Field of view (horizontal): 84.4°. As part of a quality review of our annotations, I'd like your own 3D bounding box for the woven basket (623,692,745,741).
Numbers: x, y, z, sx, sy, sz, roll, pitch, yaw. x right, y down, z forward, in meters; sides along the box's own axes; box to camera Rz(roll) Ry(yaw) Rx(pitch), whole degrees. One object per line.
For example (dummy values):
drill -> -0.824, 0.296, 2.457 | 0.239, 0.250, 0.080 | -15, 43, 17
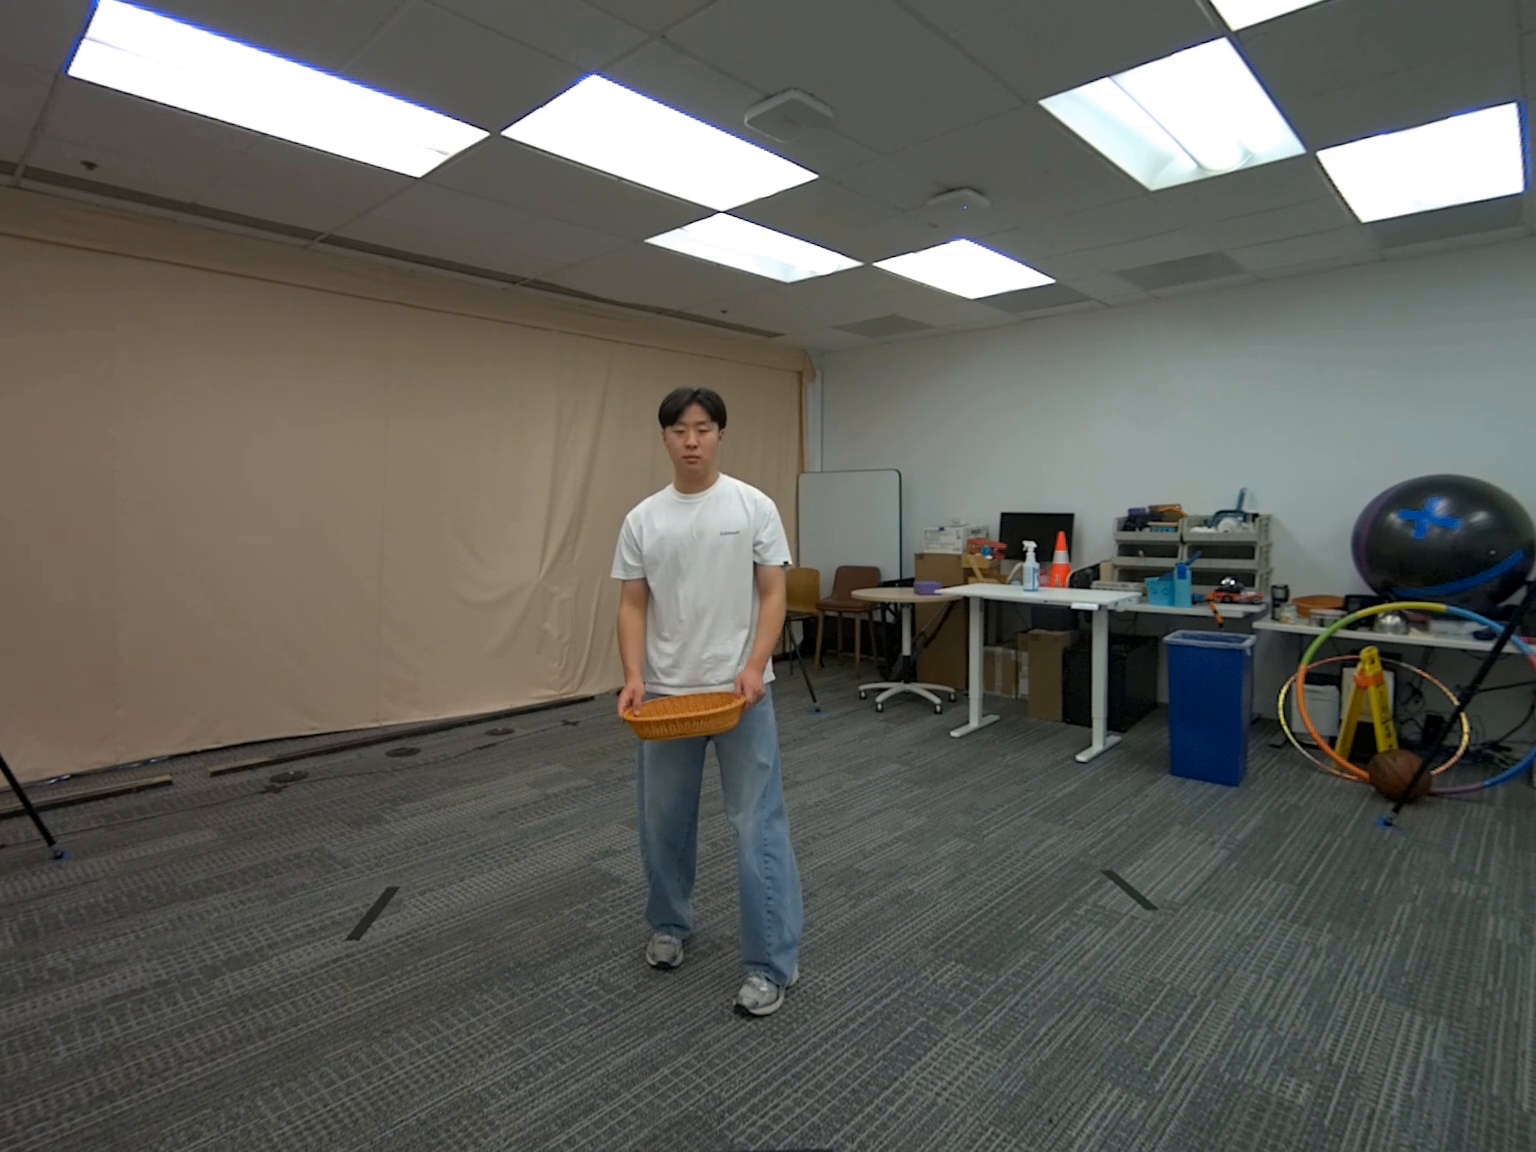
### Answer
woven basket -> -0.237, 0.381, 2.310 | 0.354, 0.073, 0.251 | -7, 6, 10
